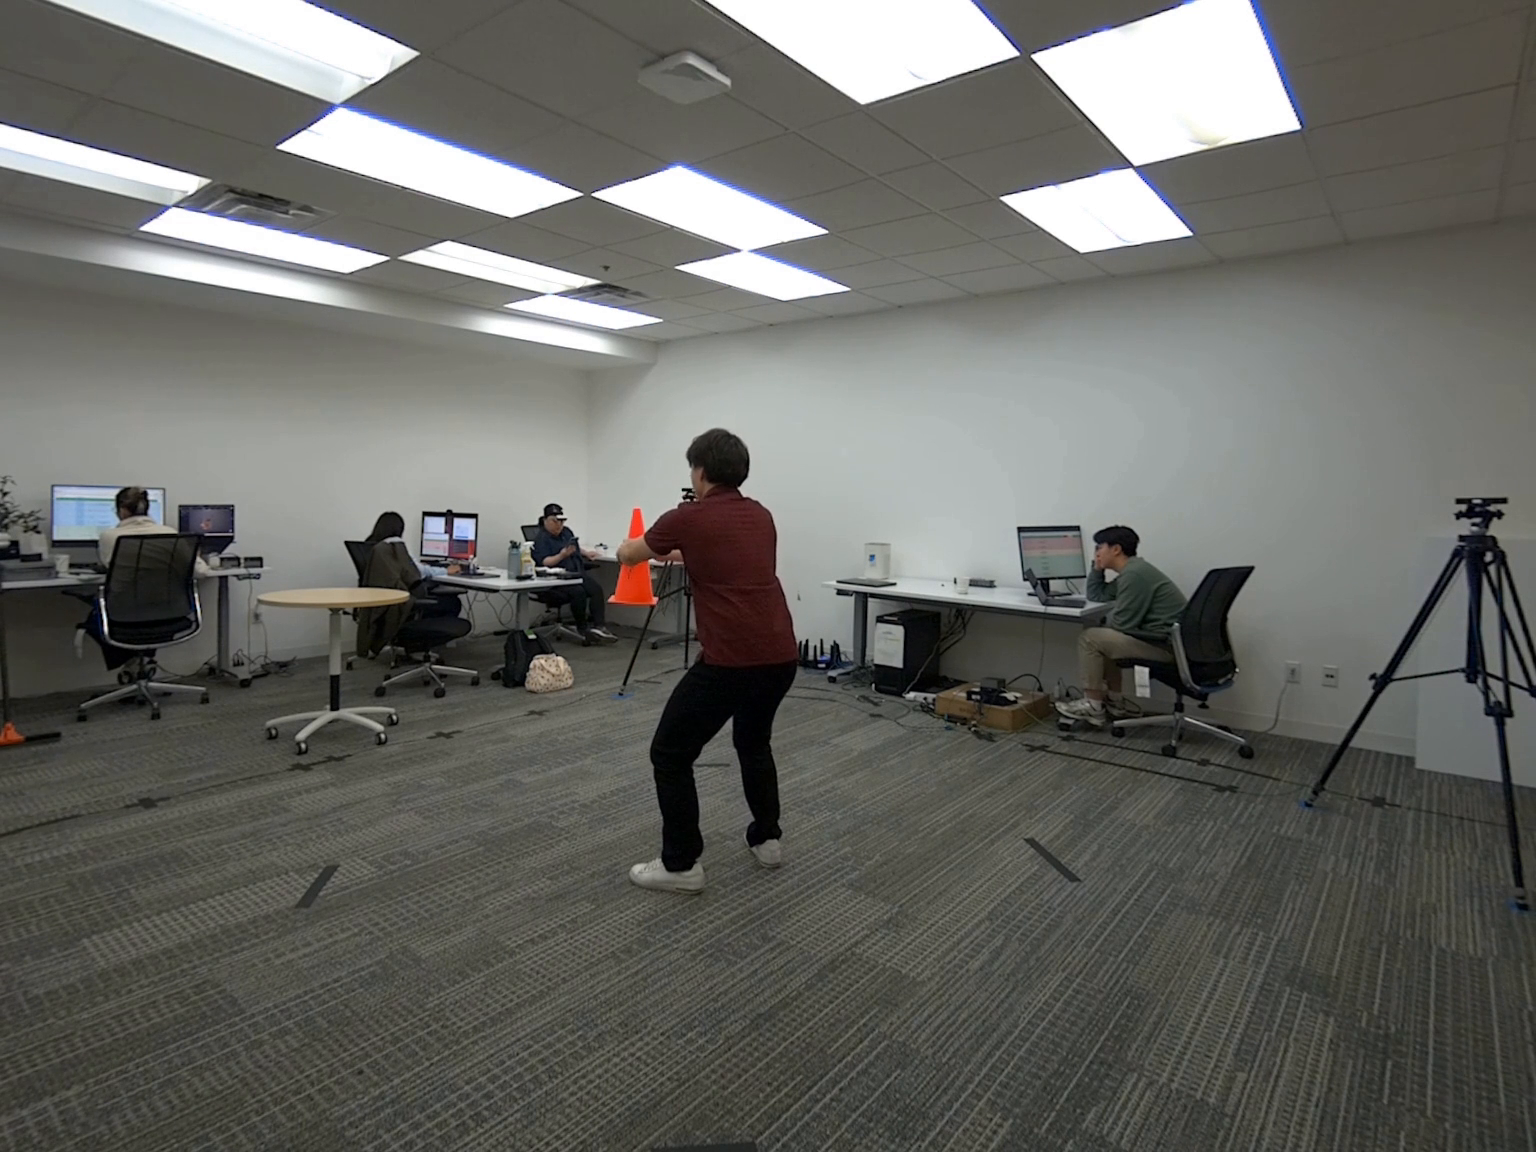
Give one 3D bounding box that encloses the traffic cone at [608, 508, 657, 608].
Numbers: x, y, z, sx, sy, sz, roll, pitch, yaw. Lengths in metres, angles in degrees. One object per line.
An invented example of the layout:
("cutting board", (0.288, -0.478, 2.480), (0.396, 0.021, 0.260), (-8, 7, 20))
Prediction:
("traffic cone", (-0.555, -0.090, 3.497), (0.203, 0.382, 0.206), (4, 4, -4))
